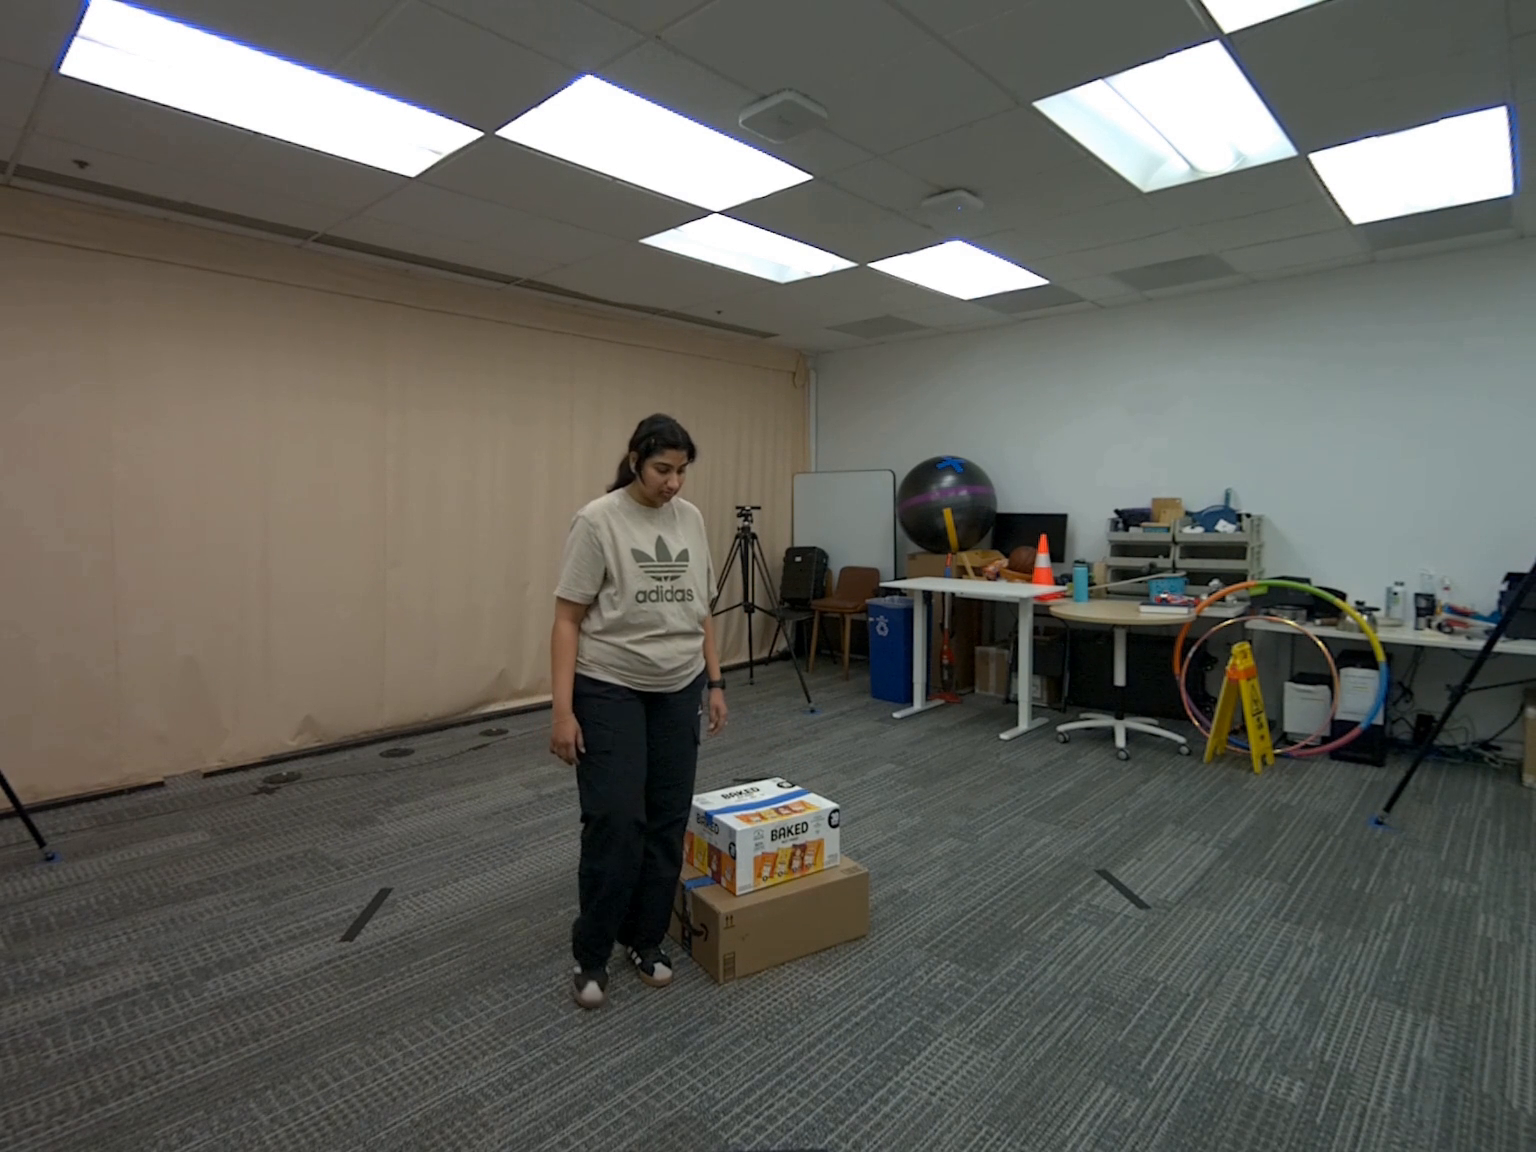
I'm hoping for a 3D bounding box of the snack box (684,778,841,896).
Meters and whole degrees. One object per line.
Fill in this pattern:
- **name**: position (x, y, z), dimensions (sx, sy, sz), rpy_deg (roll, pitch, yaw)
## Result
- **snack box**: position (-0.021, 0.847, 2.781), dimensions (0.394, 0.205, 0.351), rpy_deg (-3, 5, -34)
